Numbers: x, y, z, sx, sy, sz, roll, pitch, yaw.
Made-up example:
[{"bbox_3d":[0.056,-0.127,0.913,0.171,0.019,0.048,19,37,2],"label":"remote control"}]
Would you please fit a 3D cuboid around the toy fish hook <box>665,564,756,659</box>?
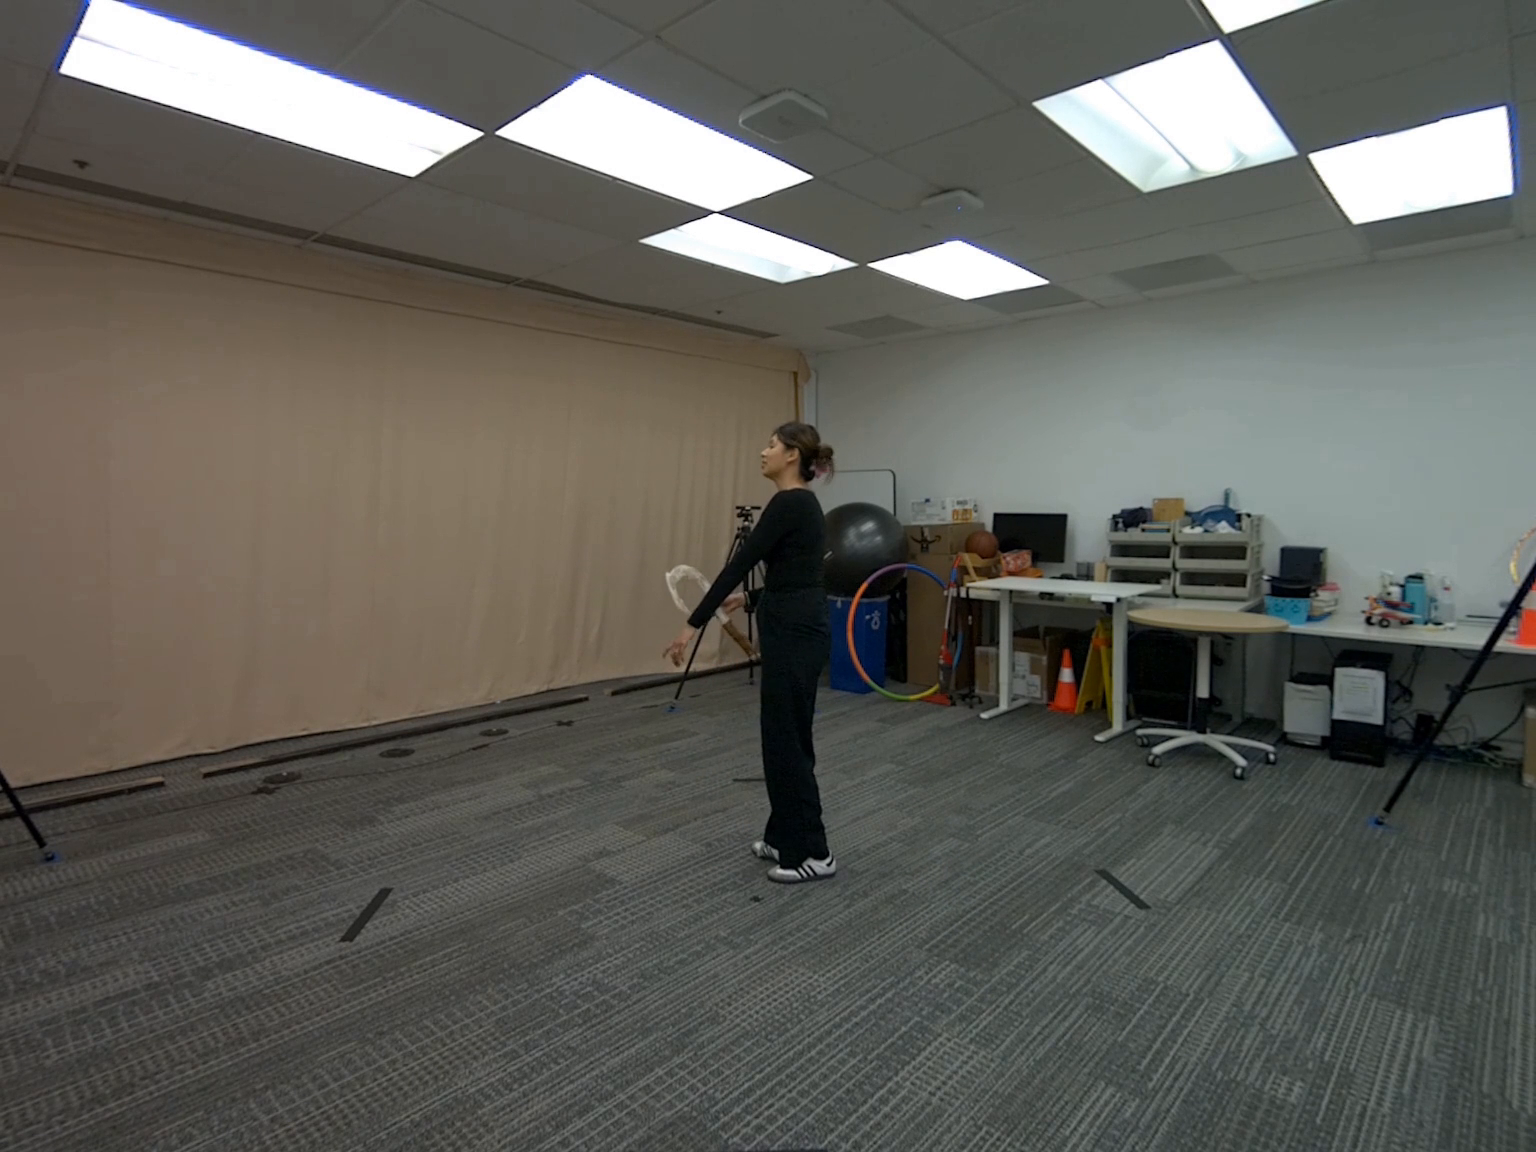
[{"bbox_3d":[-0.229,0.166,3.429,0.221,0.510,0.049,-32,-9,-46],"label":"toy fish hook"}]
